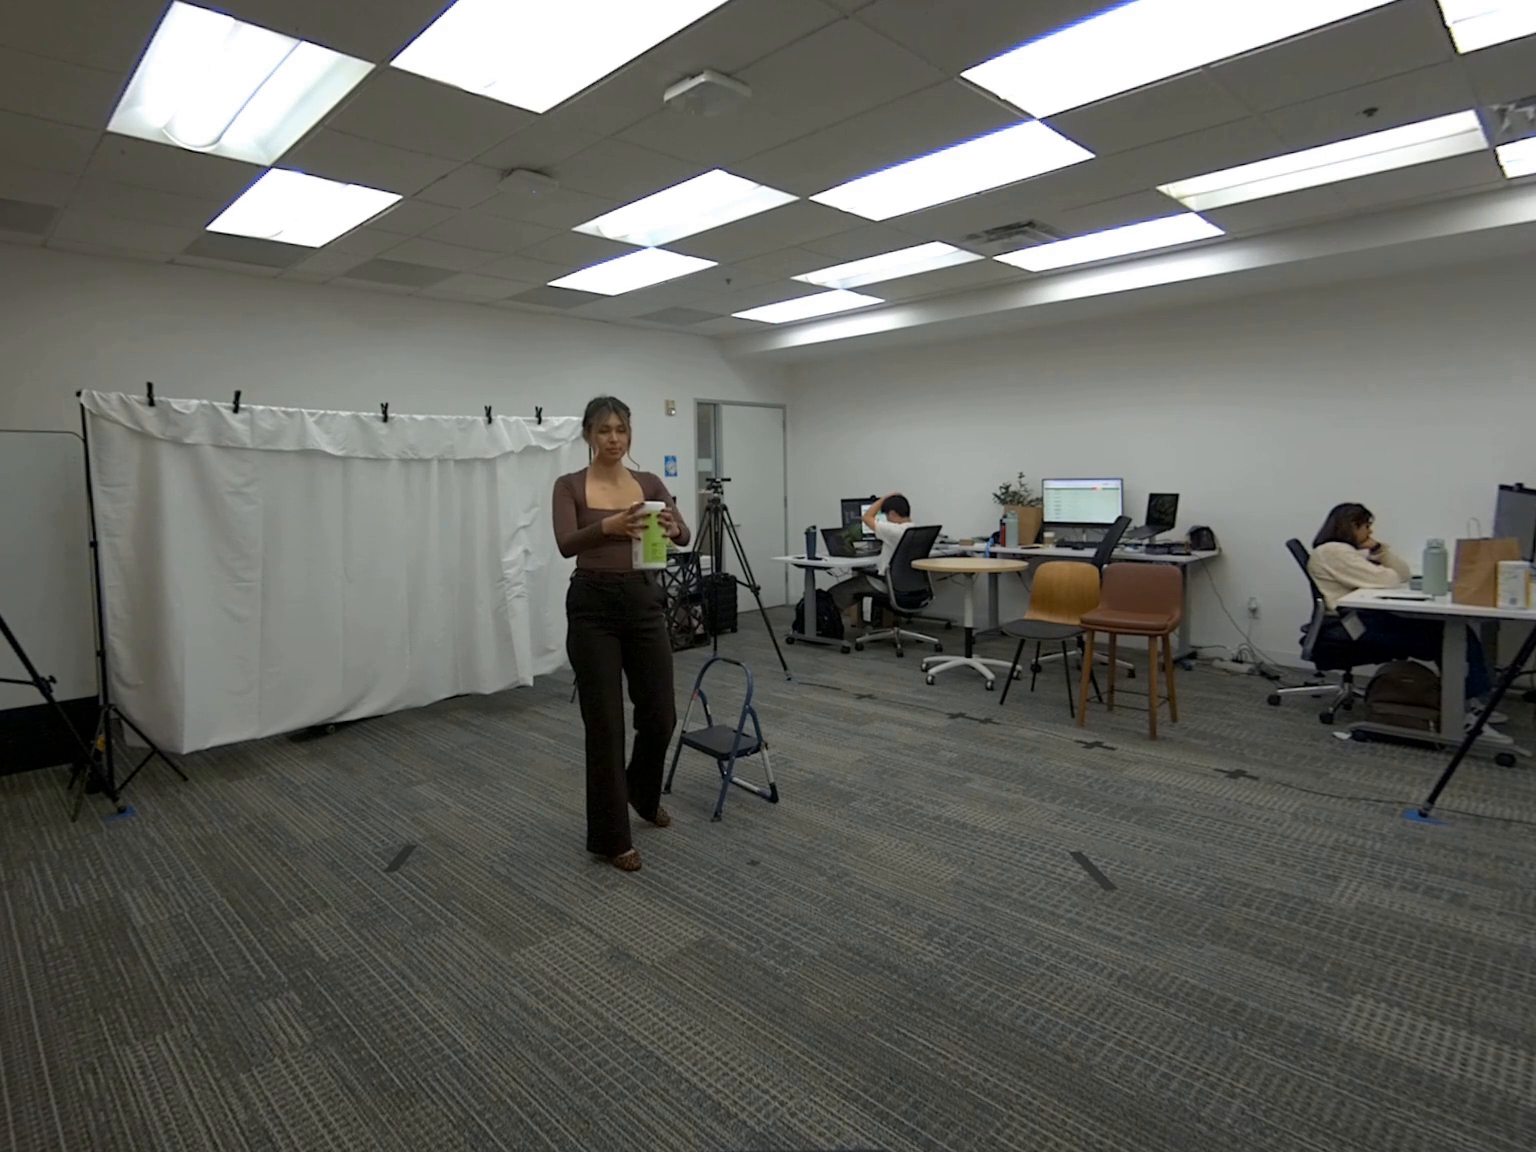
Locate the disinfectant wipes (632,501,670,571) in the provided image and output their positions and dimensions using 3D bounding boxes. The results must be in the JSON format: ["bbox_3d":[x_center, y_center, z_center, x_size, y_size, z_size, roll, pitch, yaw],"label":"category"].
[{"bbox_3d":[-0.380,-0.125,2.754,0.118,0.218,0.118,0,-1,-2],"label":"disinfectant wipes"}]
